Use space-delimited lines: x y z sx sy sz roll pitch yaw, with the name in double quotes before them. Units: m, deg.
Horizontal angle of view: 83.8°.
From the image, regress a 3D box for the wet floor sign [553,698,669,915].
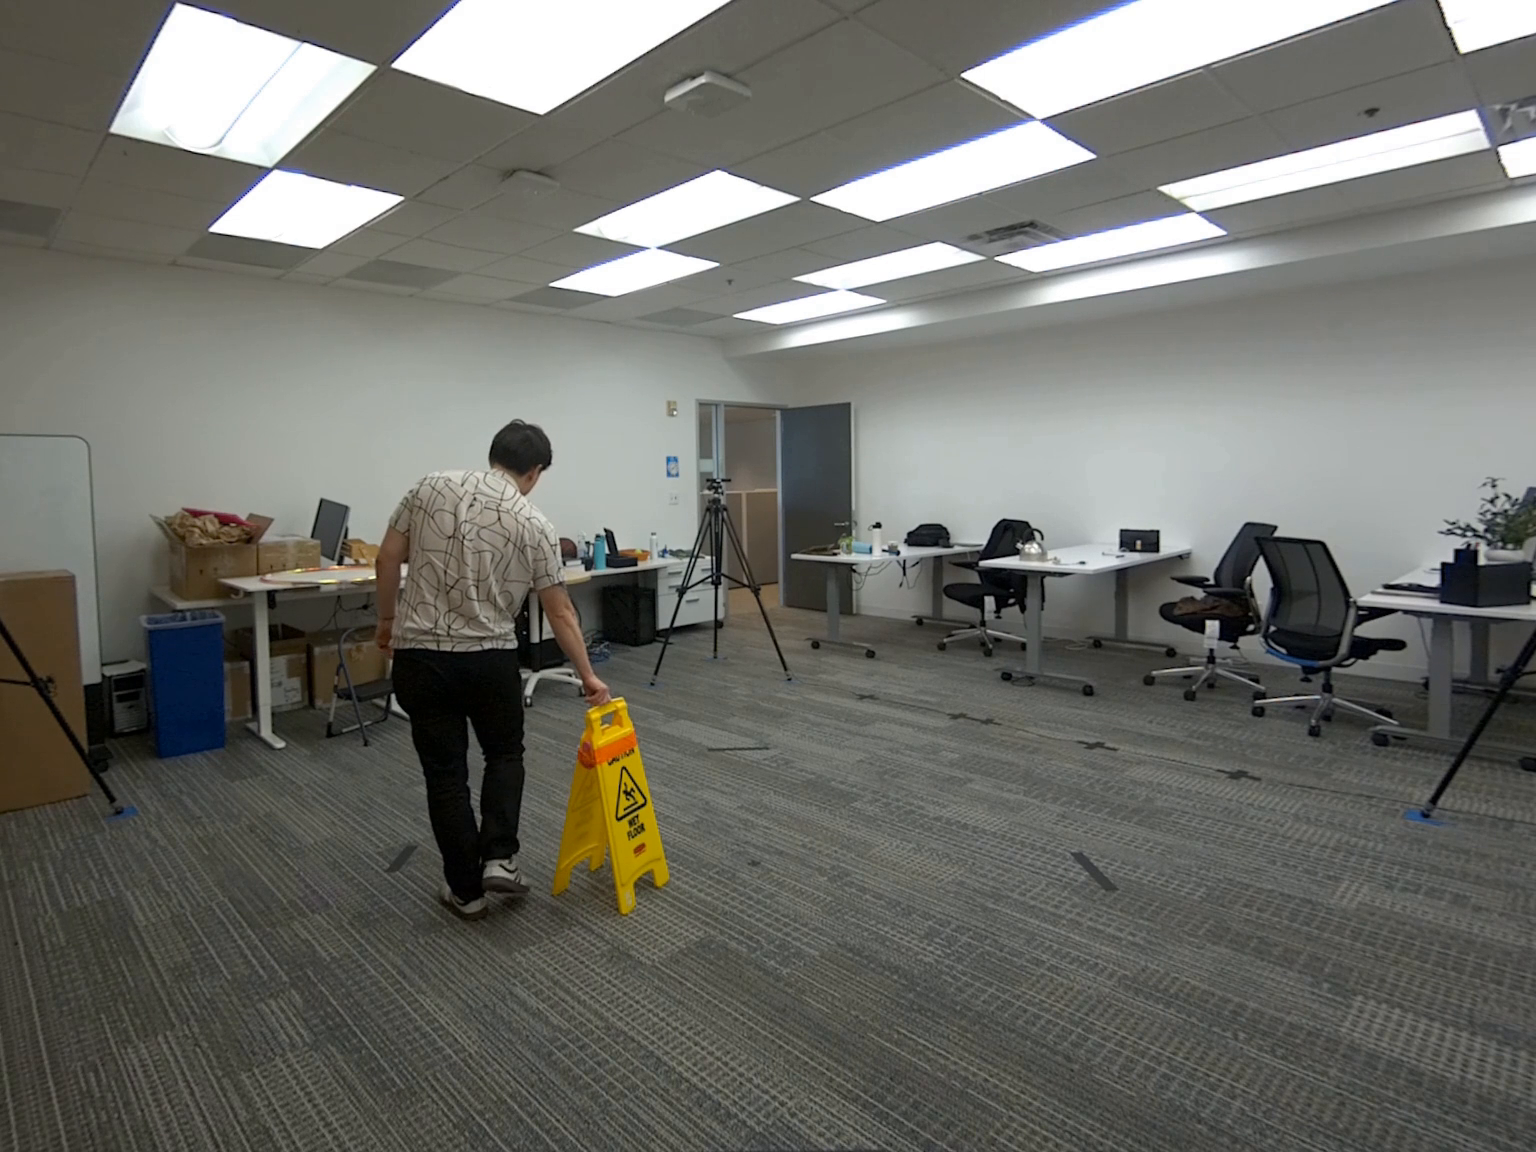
"wet floor sign" -0.537 0.752 2.916 0.297 0.643 0.277 2 6 27
